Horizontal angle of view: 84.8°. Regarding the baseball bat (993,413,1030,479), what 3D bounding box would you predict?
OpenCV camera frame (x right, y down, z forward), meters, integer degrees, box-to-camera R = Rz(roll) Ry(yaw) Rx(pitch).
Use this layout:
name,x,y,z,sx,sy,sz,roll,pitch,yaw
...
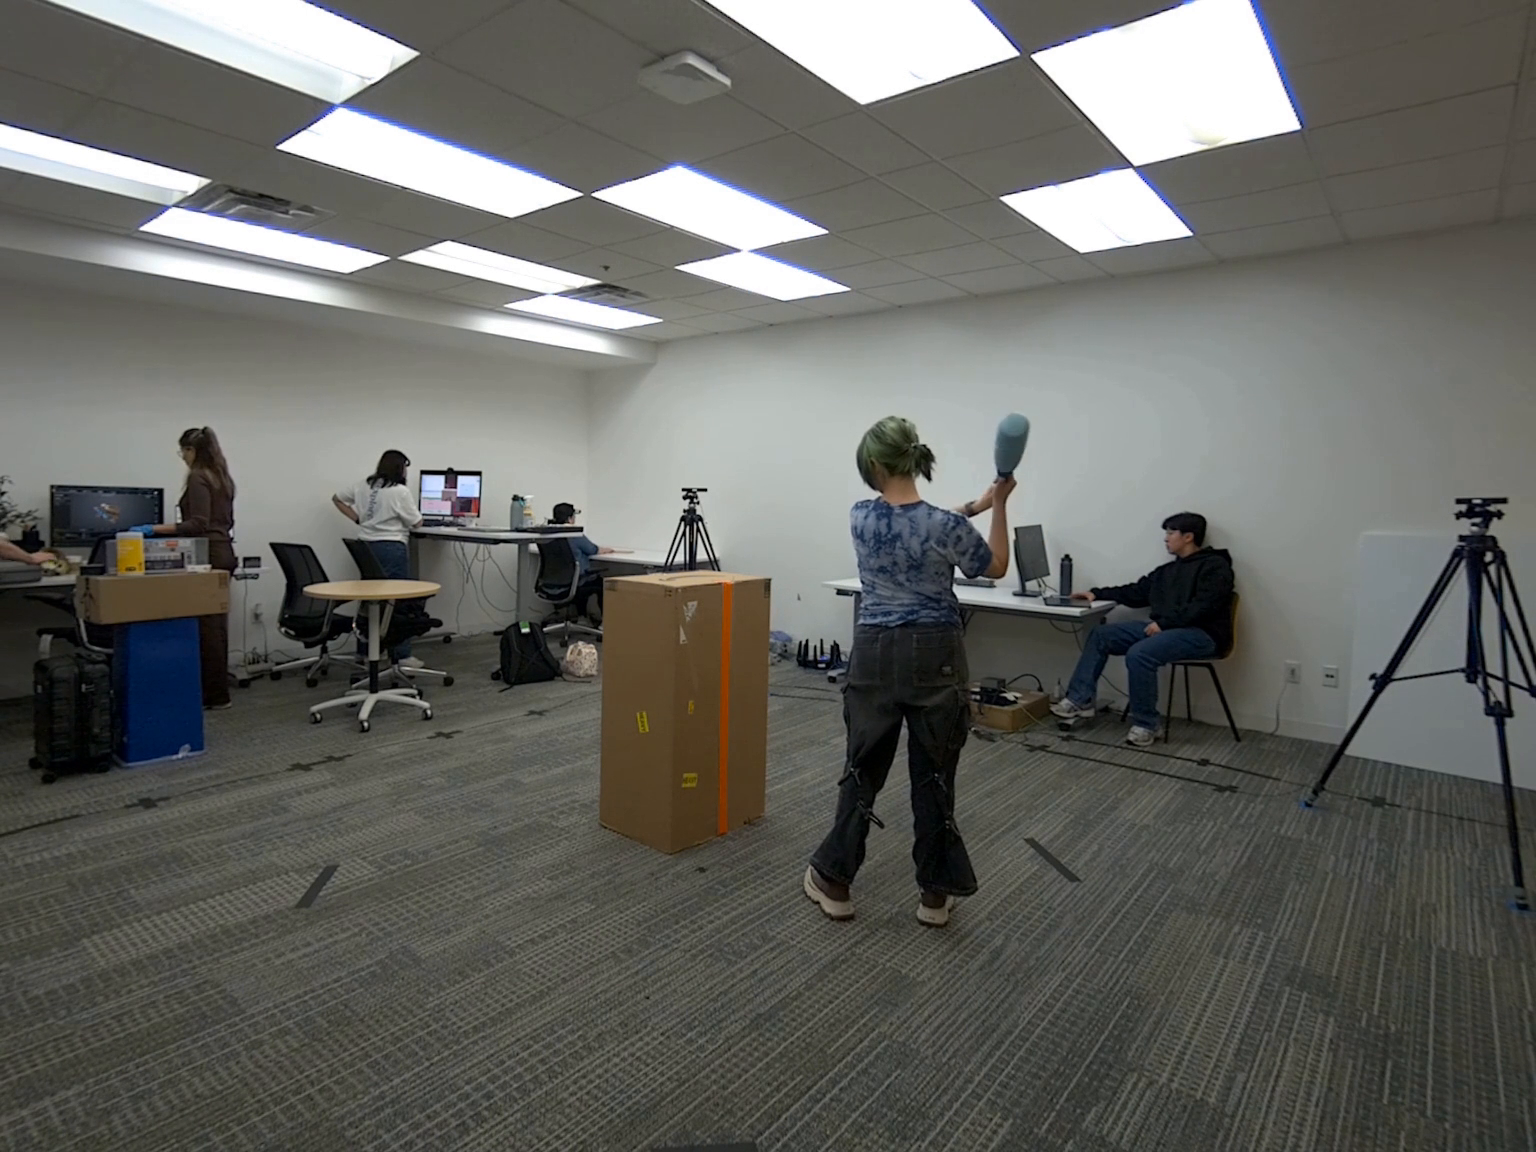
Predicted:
name,x,y,z,sx,sy,sz,roll,pitch,yaw
baseball bat,0.717,-0.341,2.683,0.090,0.090,0.529,2,-20,5
